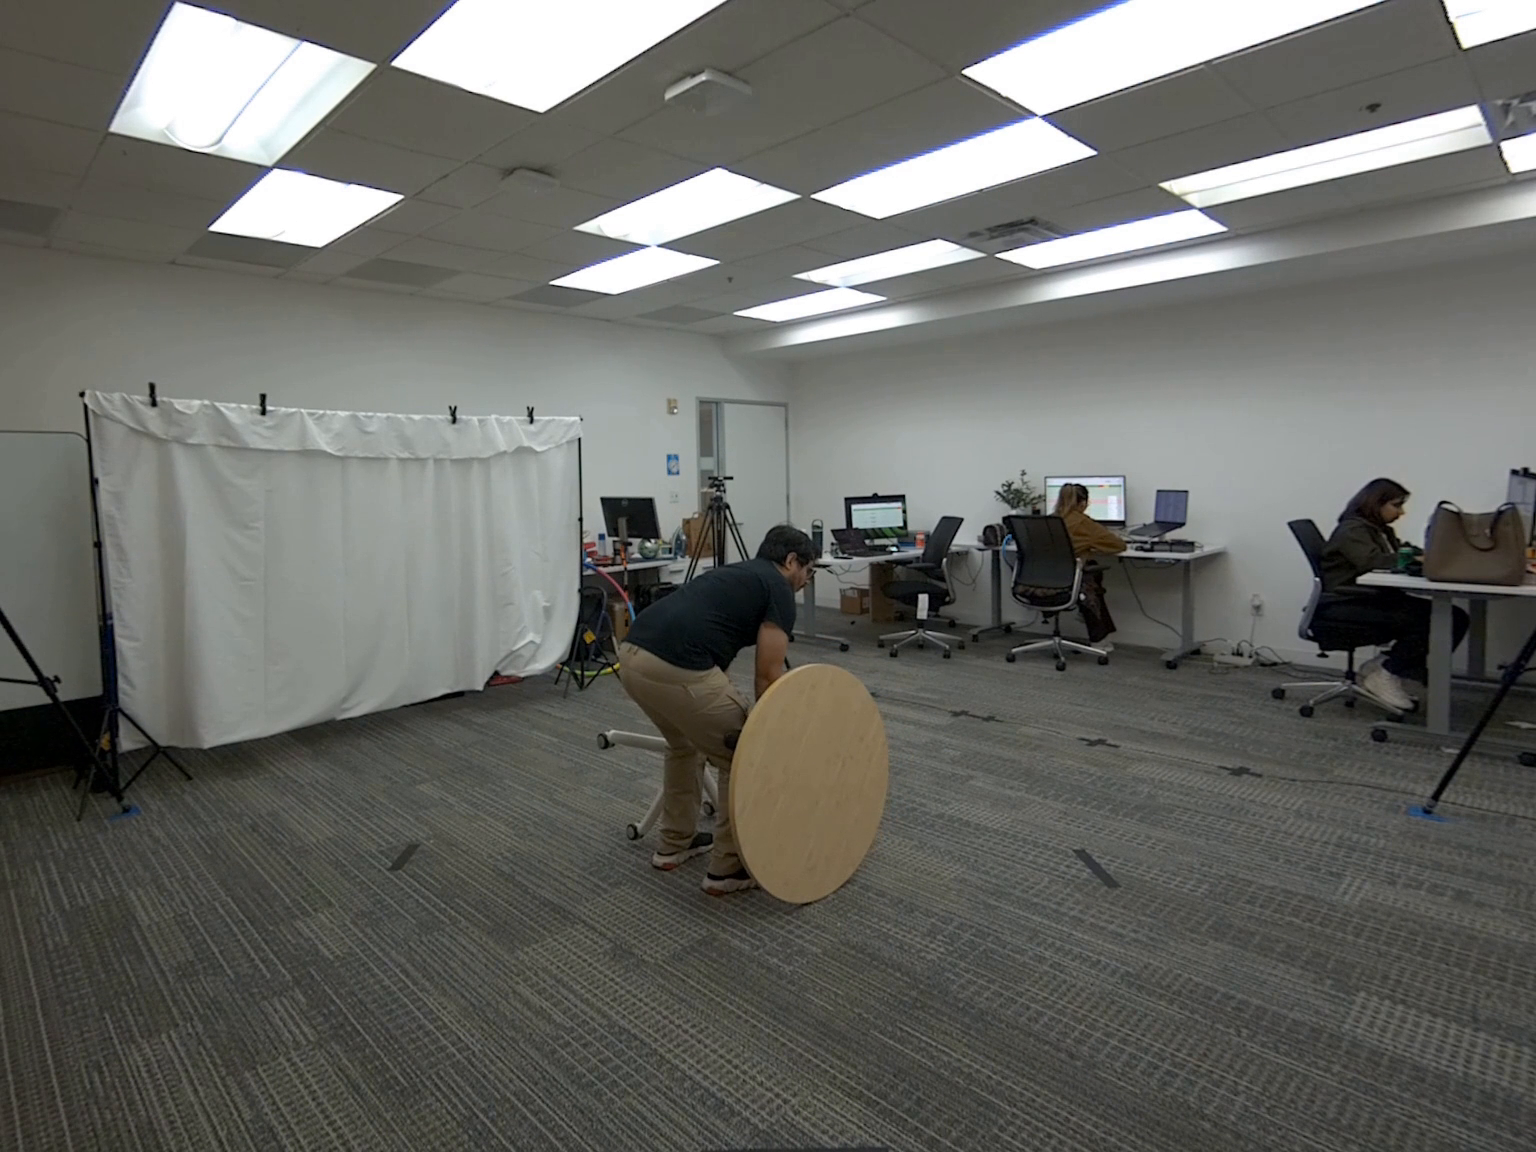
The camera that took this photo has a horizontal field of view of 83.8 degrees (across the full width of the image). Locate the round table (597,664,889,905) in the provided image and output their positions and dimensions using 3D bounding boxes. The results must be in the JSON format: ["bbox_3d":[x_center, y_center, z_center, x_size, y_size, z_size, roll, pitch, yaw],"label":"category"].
[{"bbox_3d":[-0.115,0.667,3.127,0.764,0.783,0.809,-6,4,-44],"label":"round table"}]
